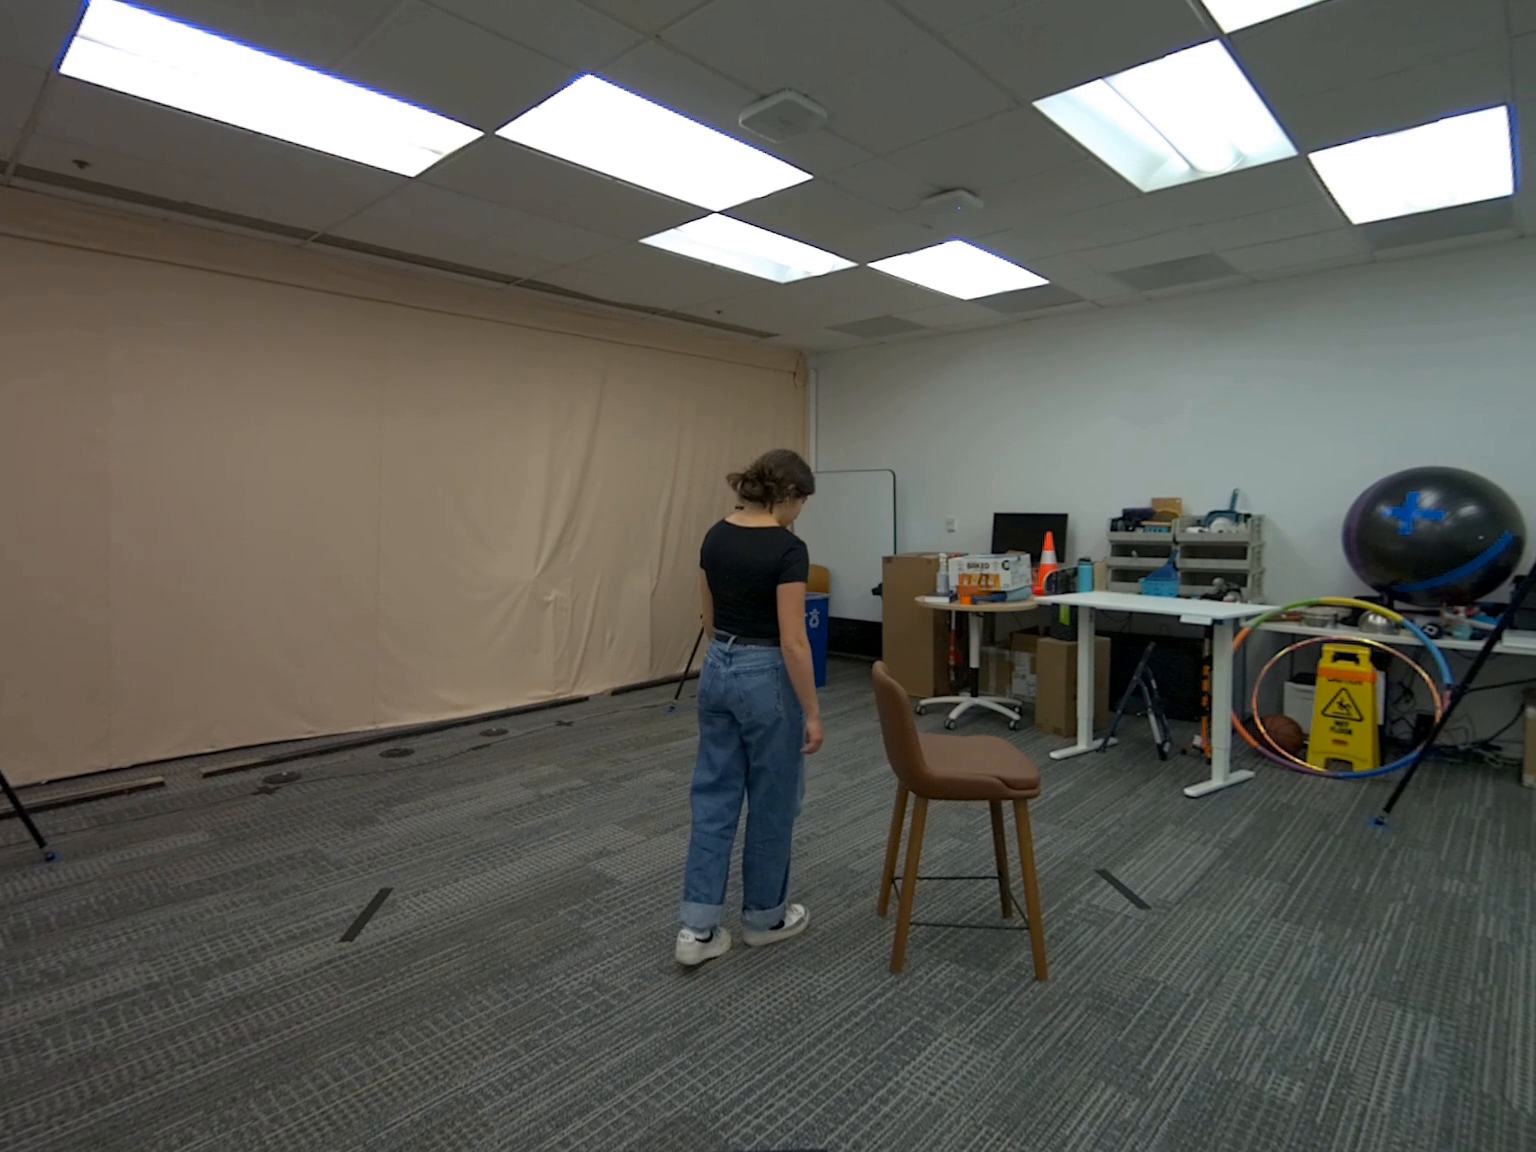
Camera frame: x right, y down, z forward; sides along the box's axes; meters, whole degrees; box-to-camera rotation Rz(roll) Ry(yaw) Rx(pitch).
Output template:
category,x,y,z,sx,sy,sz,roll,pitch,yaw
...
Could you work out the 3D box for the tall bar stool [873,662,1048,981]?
category,x,y,z,sx,sy,sz,roll,pitch,yaw
tall bar stool,0.595,0.736,2.651,0.470,0.888,0.455,-2,3,3
